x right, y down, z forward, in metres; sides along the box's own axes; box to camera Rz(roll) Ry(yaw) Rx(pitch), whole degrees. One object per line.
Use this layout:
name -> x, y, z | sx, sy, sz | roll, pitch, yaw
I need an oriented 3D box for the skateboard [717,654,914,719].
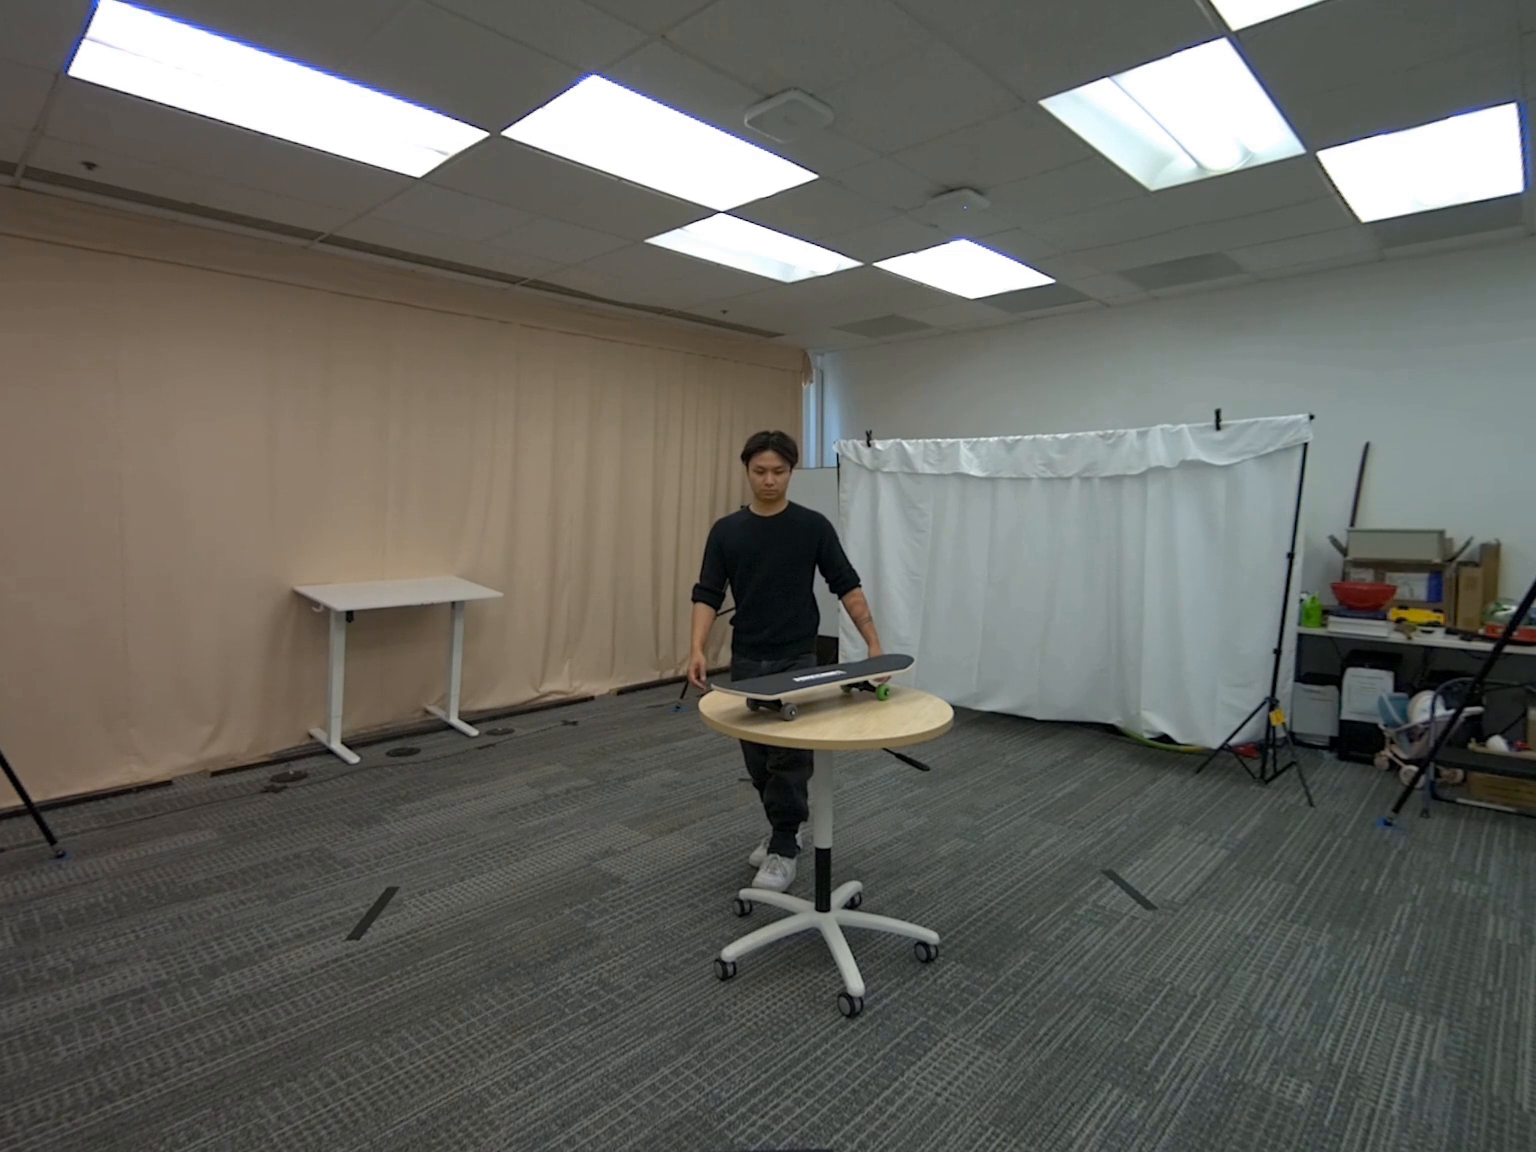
skateboard -> 0.150, 0.347, 2.568 | 0.762, 0.110, 0.200 | -5, 6, -39
